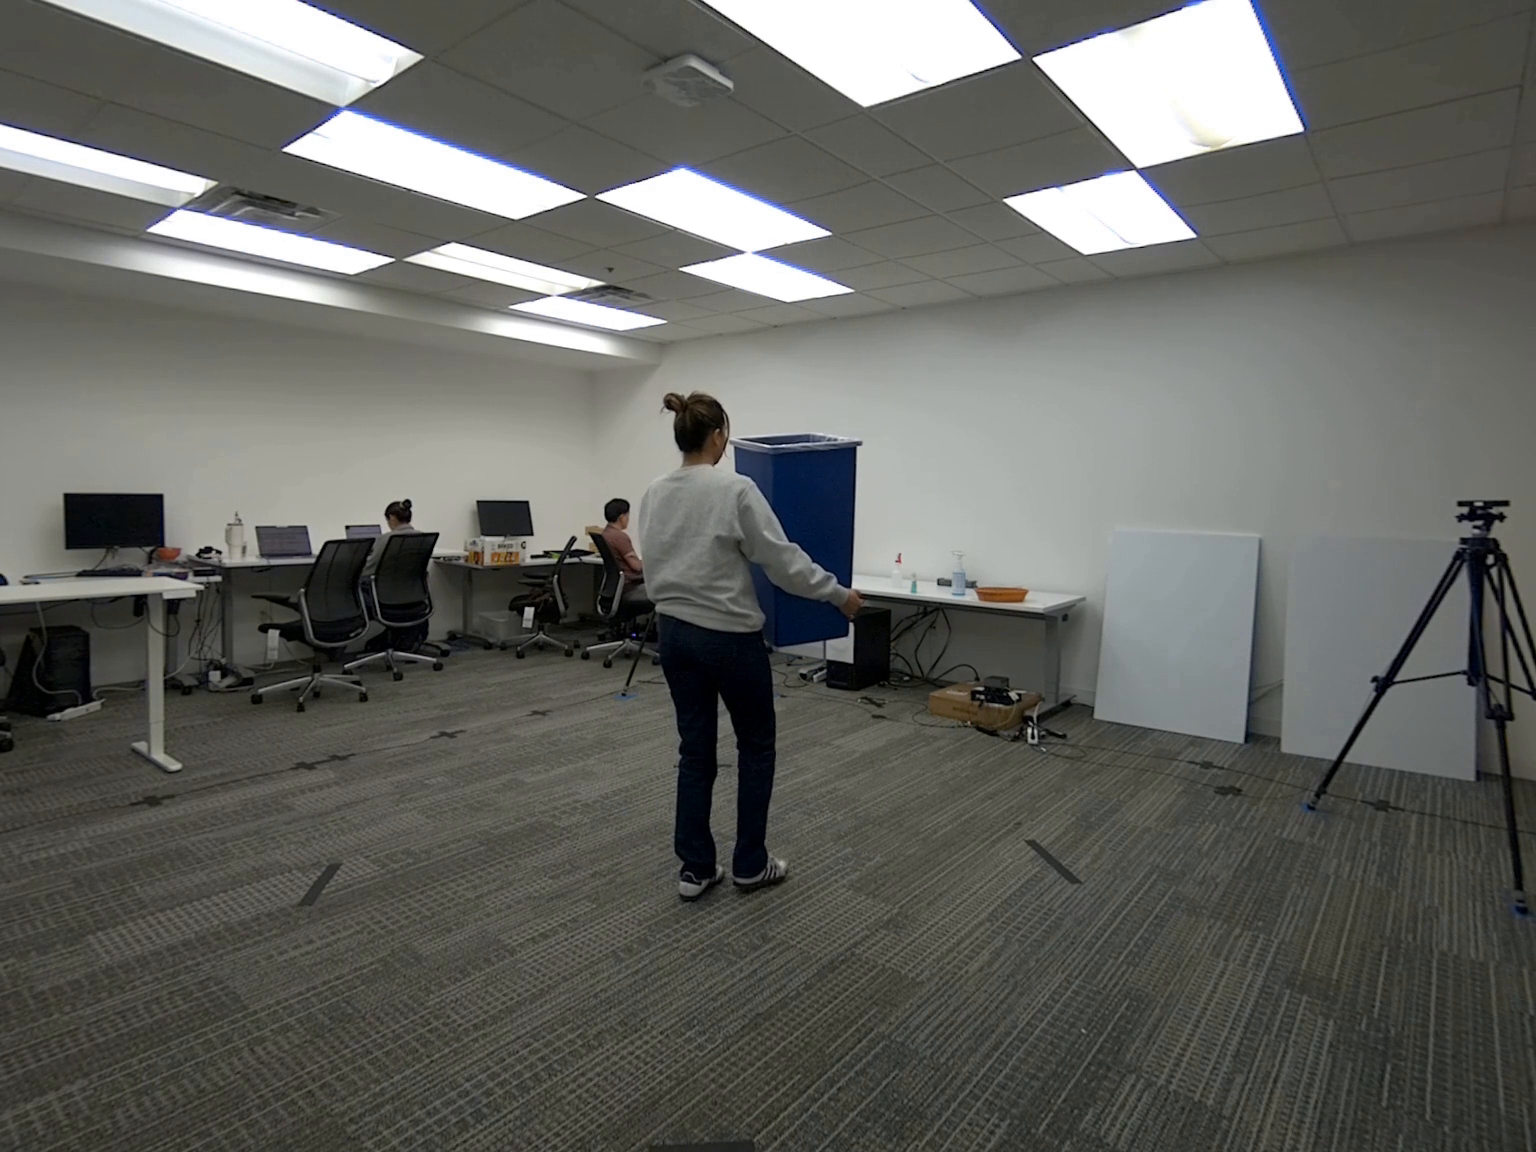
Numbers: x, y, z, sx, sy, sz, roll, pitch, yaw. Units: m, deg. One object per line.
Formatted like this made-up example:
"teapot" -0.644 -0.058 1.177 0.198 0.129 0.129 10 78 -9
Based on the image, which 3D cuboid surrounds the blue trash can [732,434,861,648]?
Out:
"blue trash can" 0.084 -0.148 3.087 0.366 0.706 0.390 -5 12 -24
